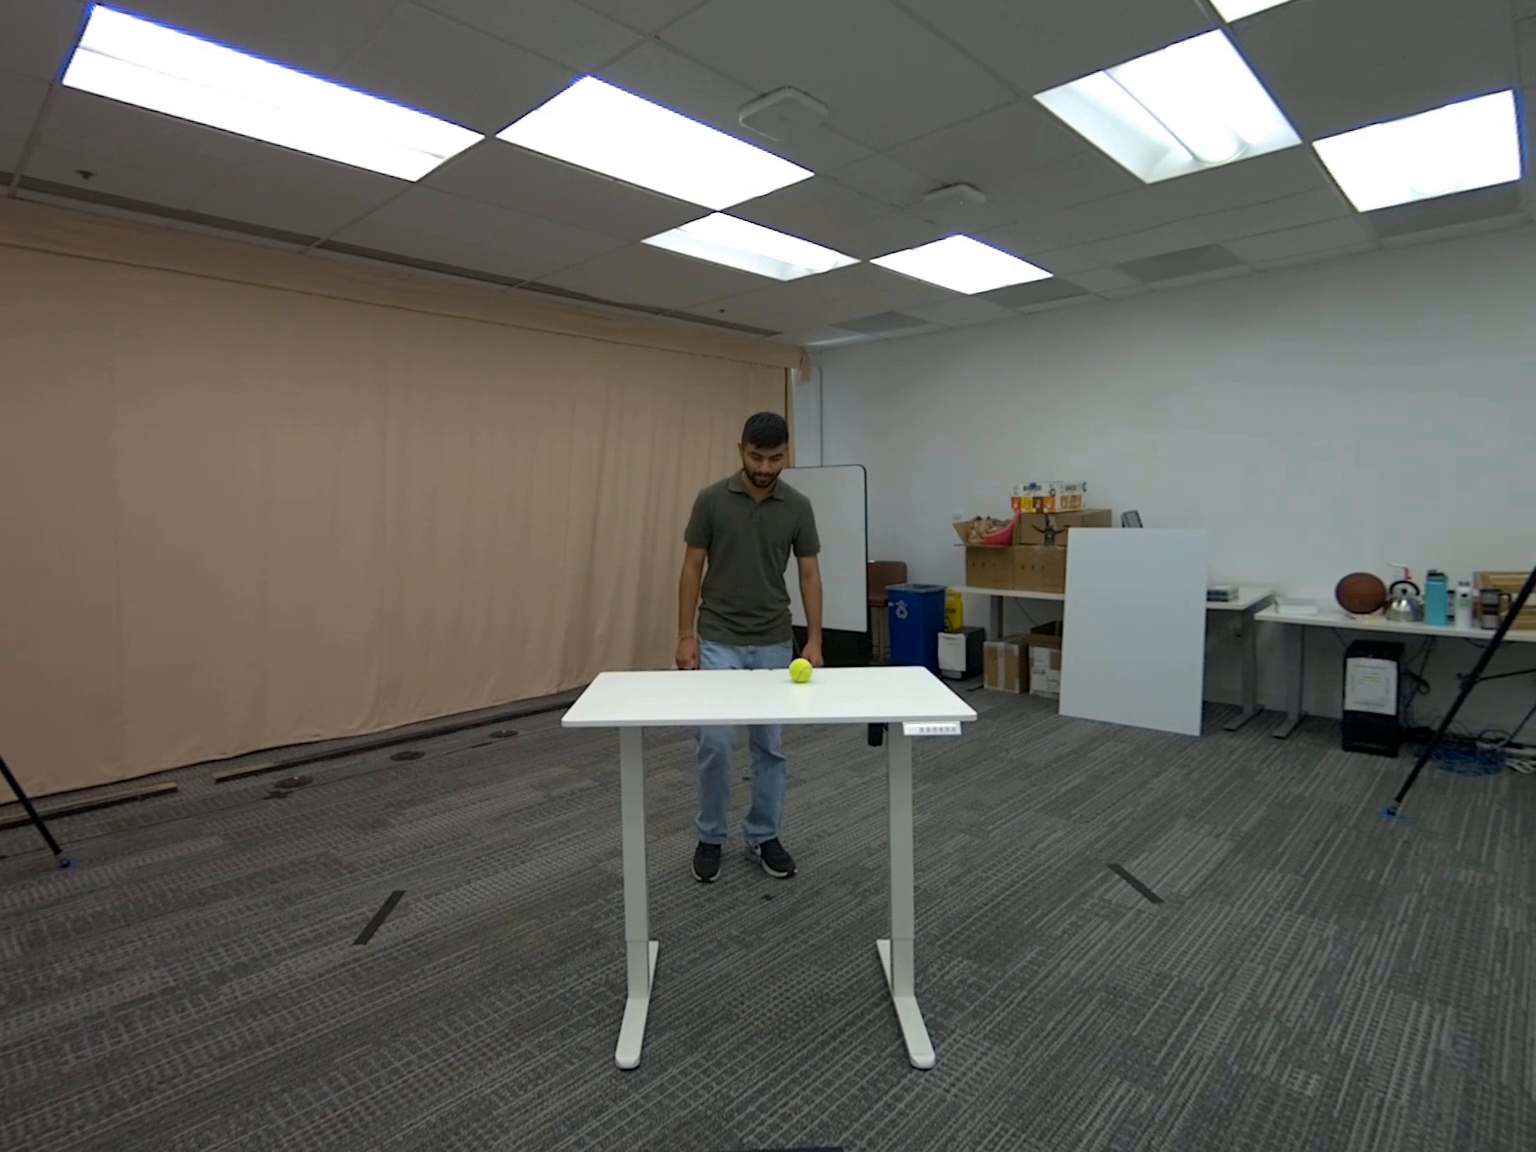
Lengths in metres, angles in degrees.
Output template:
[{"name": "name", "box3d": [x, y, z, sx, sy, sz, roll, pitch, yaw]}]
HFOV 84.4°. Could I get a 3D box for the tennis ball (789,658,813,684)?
[{"name": "tennis ball", "box3d": [0.100, 0.270, 2.429, 0.066, 0.066, 0.067, -1, 4, -2]}]
